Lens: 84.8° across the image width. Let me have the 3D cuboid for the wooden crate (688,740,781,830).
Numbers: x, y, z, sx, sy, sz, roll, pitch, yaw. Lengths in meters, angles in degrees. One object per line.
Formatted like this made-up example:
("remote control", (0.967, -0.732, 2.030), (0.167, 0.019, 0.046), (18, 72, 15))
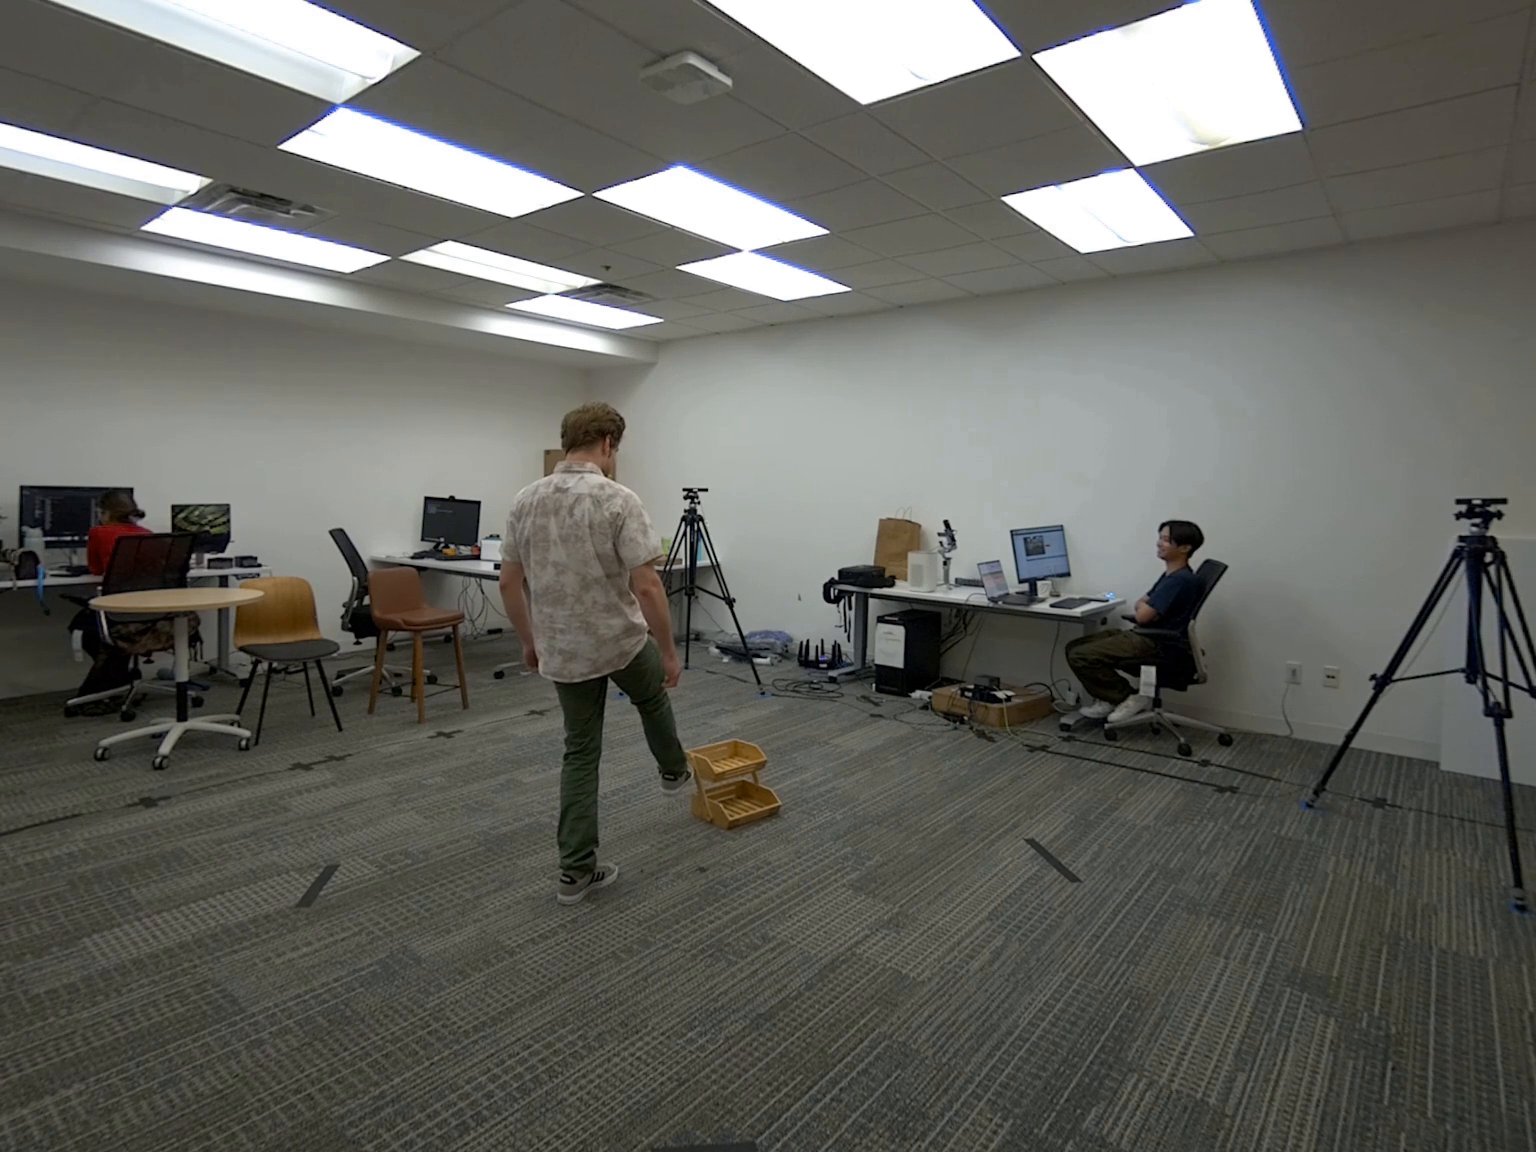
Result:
("wooden crate", (-0.161, 0.882, 3.662), (0.314, 0.272, 0.312), (-3, 5, -43))
